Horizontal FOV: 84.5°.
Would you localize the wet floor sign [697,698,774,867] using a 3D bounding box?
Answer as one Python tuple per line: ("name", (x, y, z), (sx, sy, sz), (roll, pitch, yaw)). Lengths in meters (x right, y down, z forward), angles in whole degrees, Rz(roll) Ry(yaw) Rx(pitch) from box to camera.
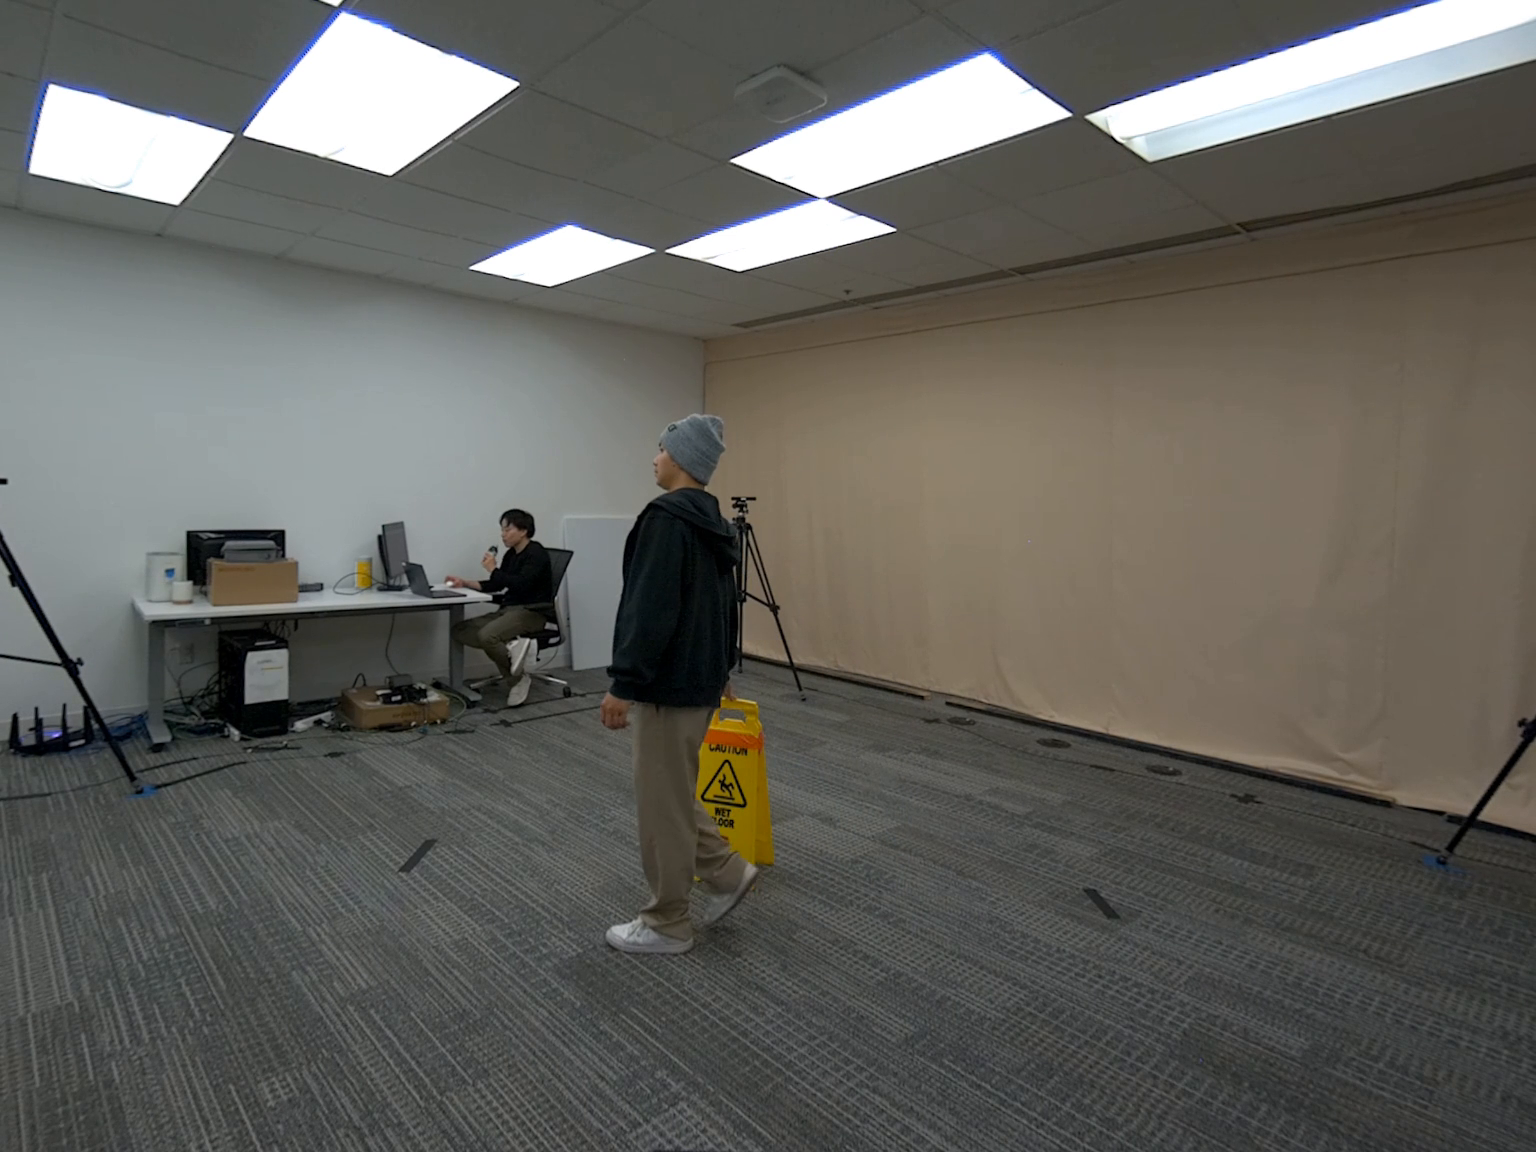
("wet floor sign", (-0.145, 0.780, 3.137), (0.286, 0.645, 0.286), (3, 3, 18))
